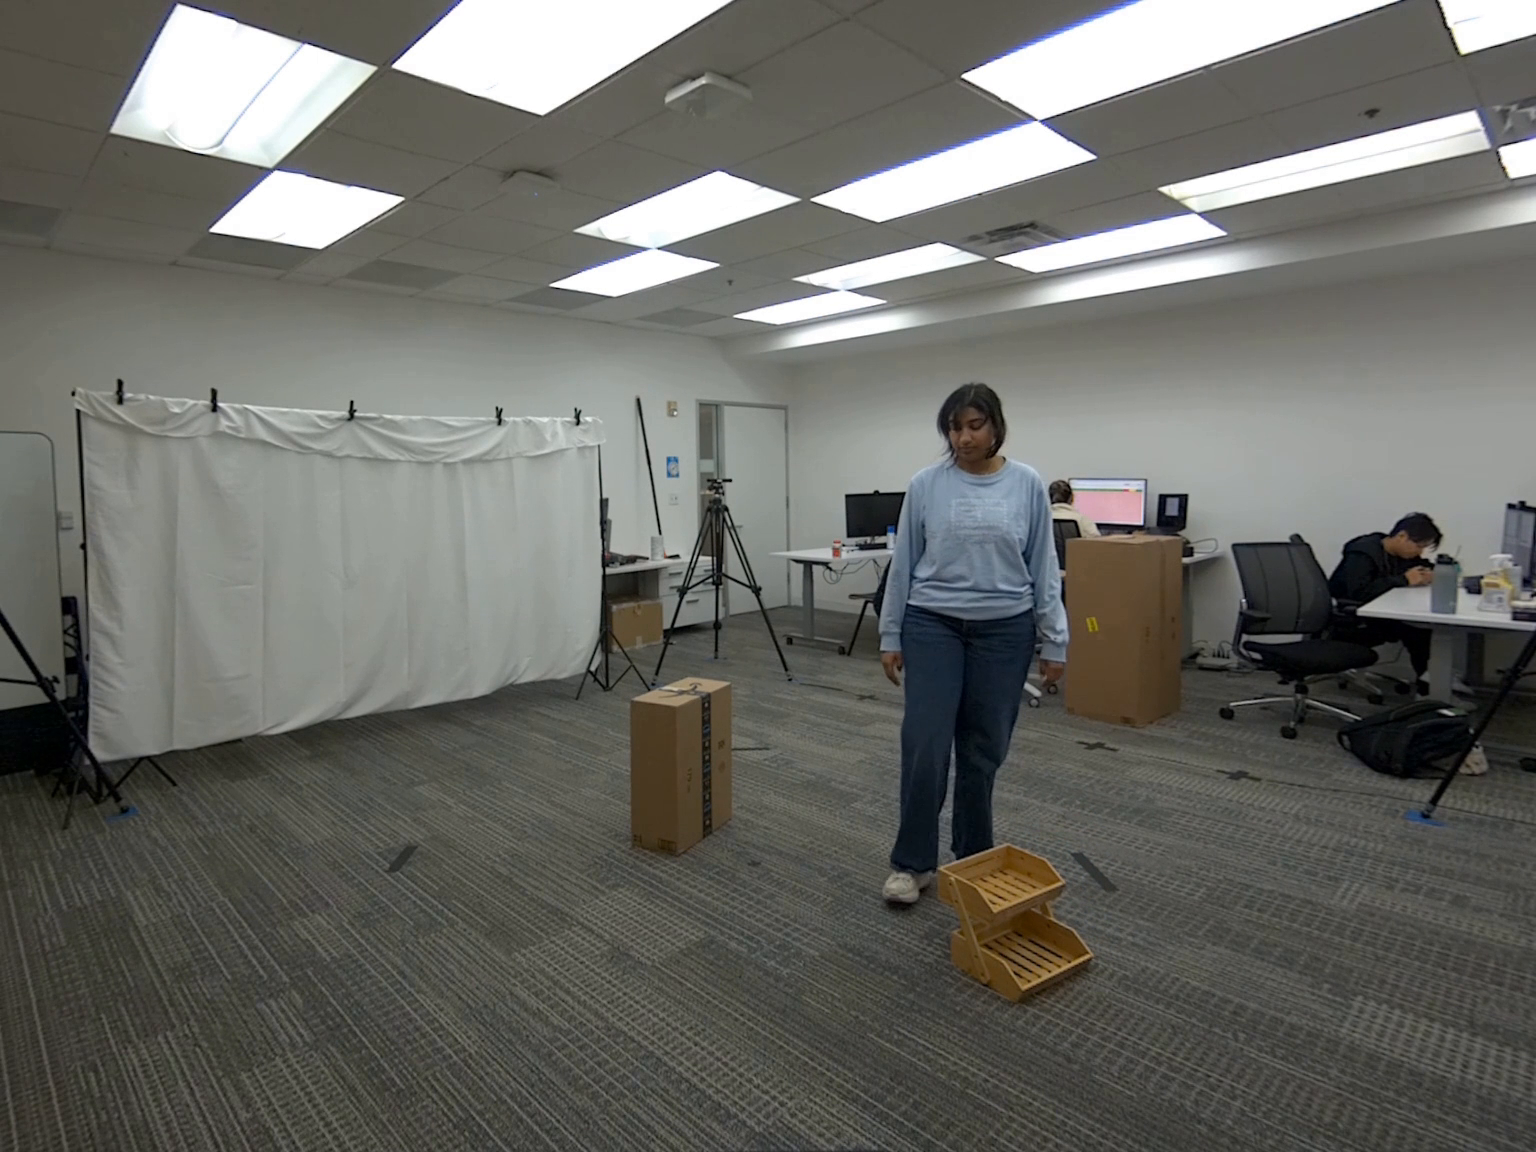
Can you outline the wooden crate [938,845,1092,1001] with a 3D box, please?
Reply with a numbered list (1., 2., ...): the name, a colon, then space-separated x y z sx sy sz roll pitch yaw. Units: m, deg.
1. wooden crate: 0.709 0.982 2.436 0.316 0.272 0.310 -5 5 -33
